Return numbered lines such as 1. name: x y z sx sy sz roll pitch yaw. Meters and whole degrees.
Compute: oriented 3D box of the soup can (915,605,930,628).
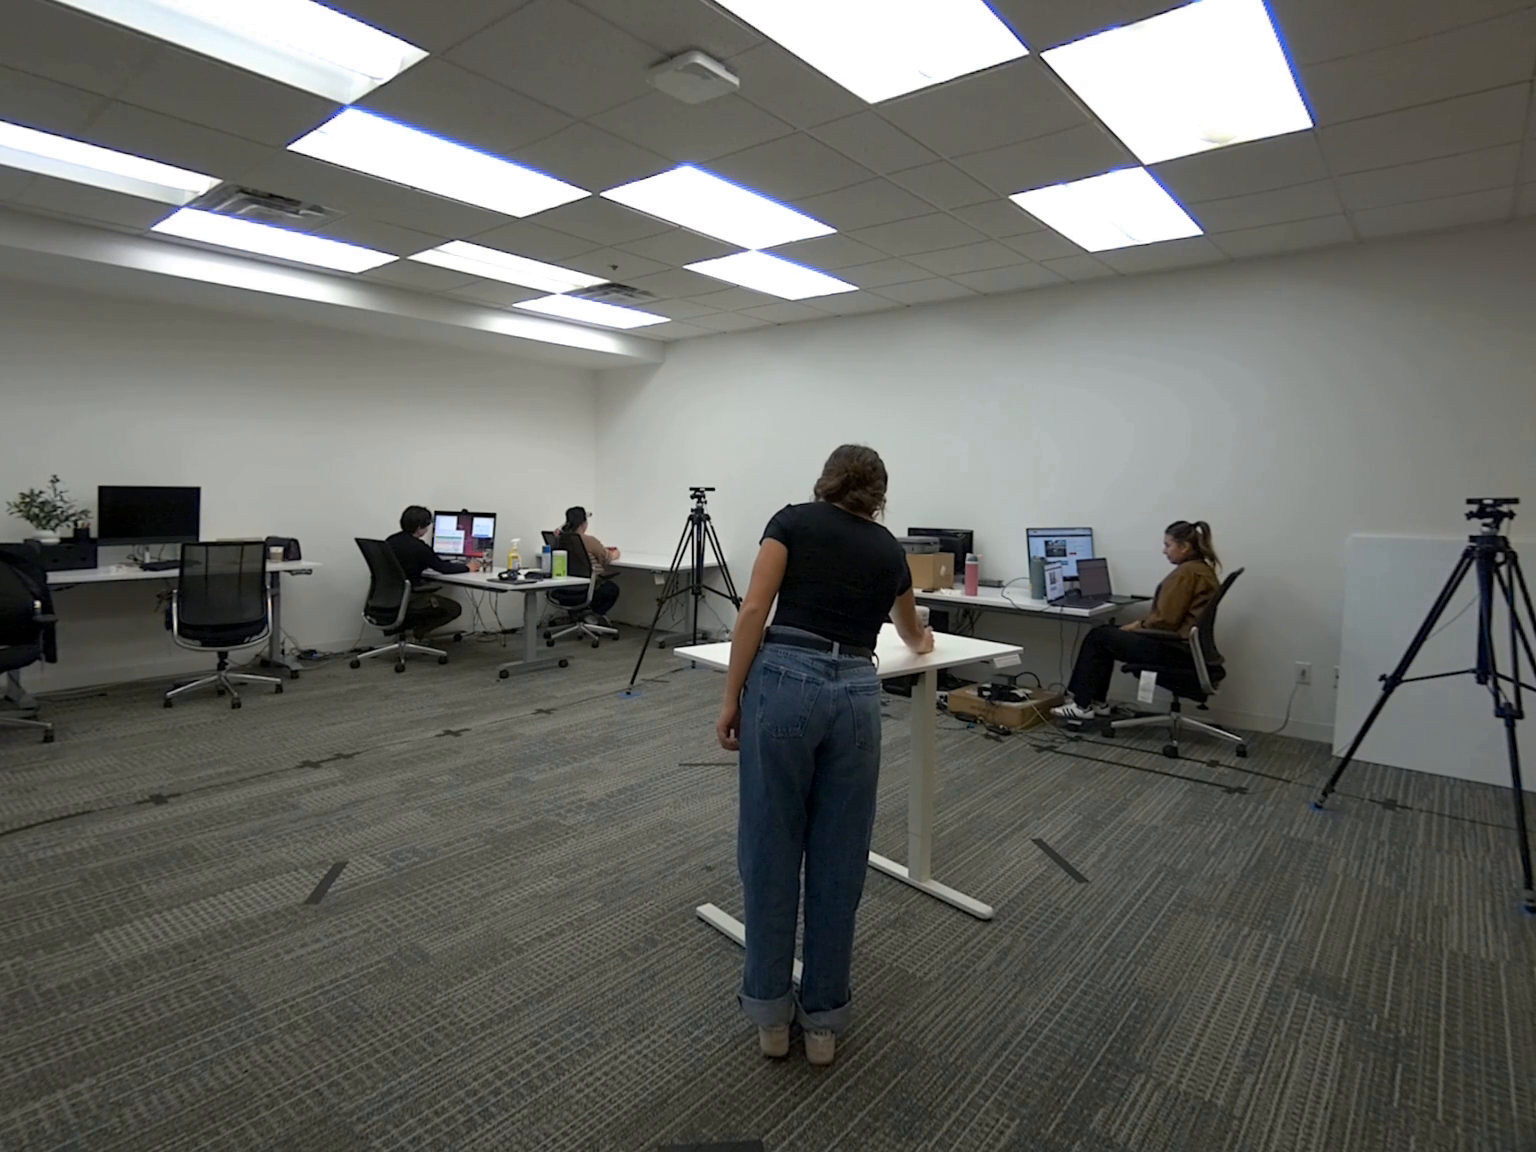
1. soup can: 0.484 0.154 2.797 0.067 0.120 0.068 0 8 -2
